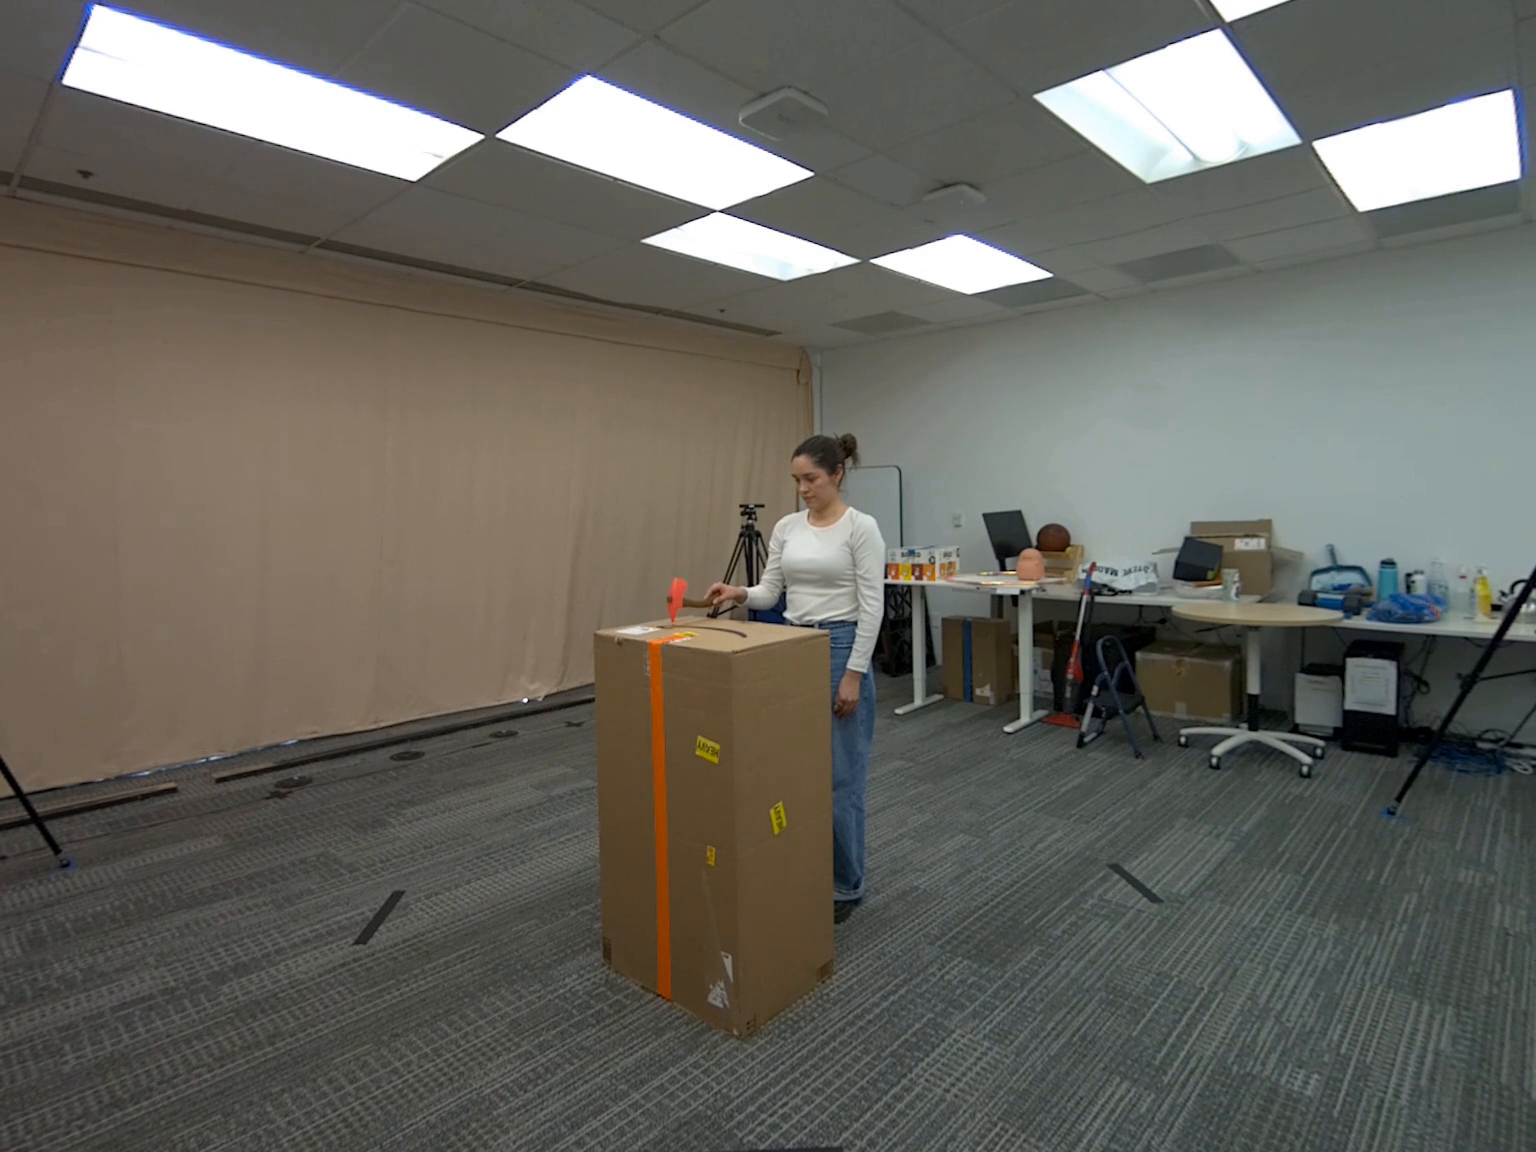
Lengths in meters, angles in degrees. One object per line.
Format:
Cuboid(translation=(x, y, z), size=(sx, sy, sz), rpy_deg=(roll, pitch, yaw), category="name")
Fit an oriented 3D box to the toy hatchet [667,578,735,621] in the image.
Cuboid(translation=(-0.235, 0.051, 2.672), size=(0.030, 0.130, 0.263), rpy_deg=(-4, 9, 37), category="toy hatchet")
